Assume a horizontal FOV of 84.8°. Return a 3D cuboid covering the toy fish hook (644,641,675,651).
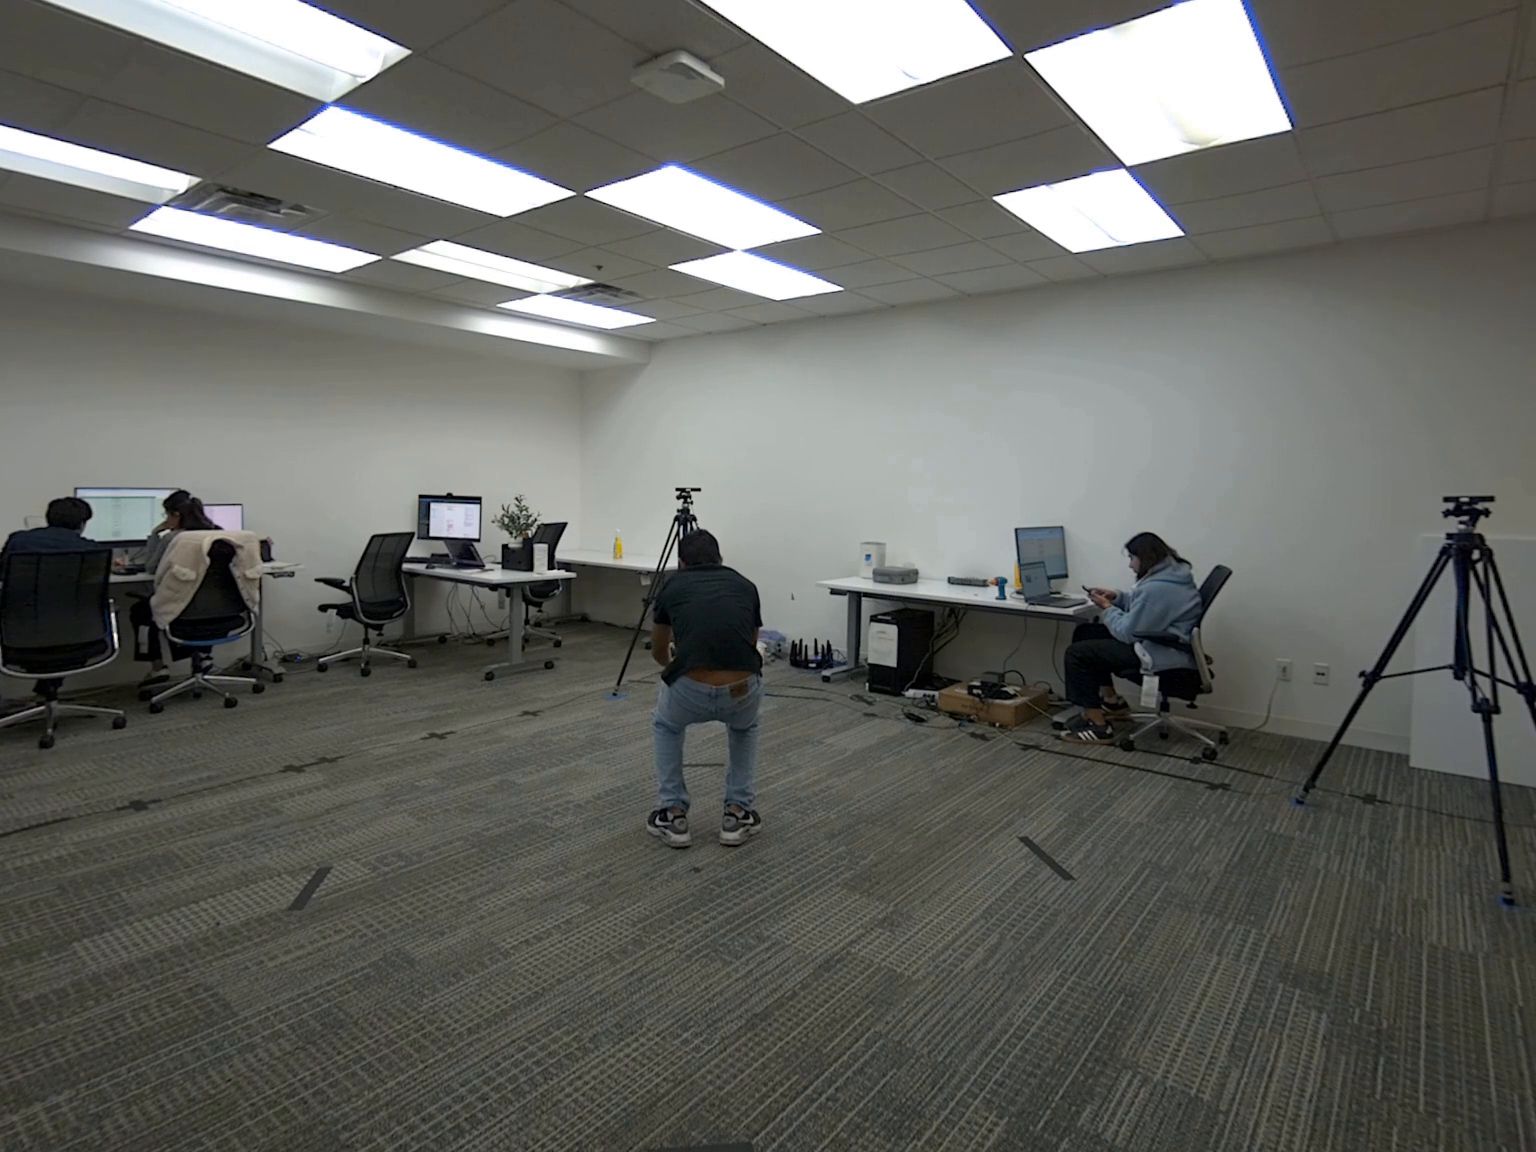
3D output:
[{"bbox_3d":[-0.273,0.338,3.987,0.514,0.047,0.225,3,17,12],"label":"toy fish hook"}]
